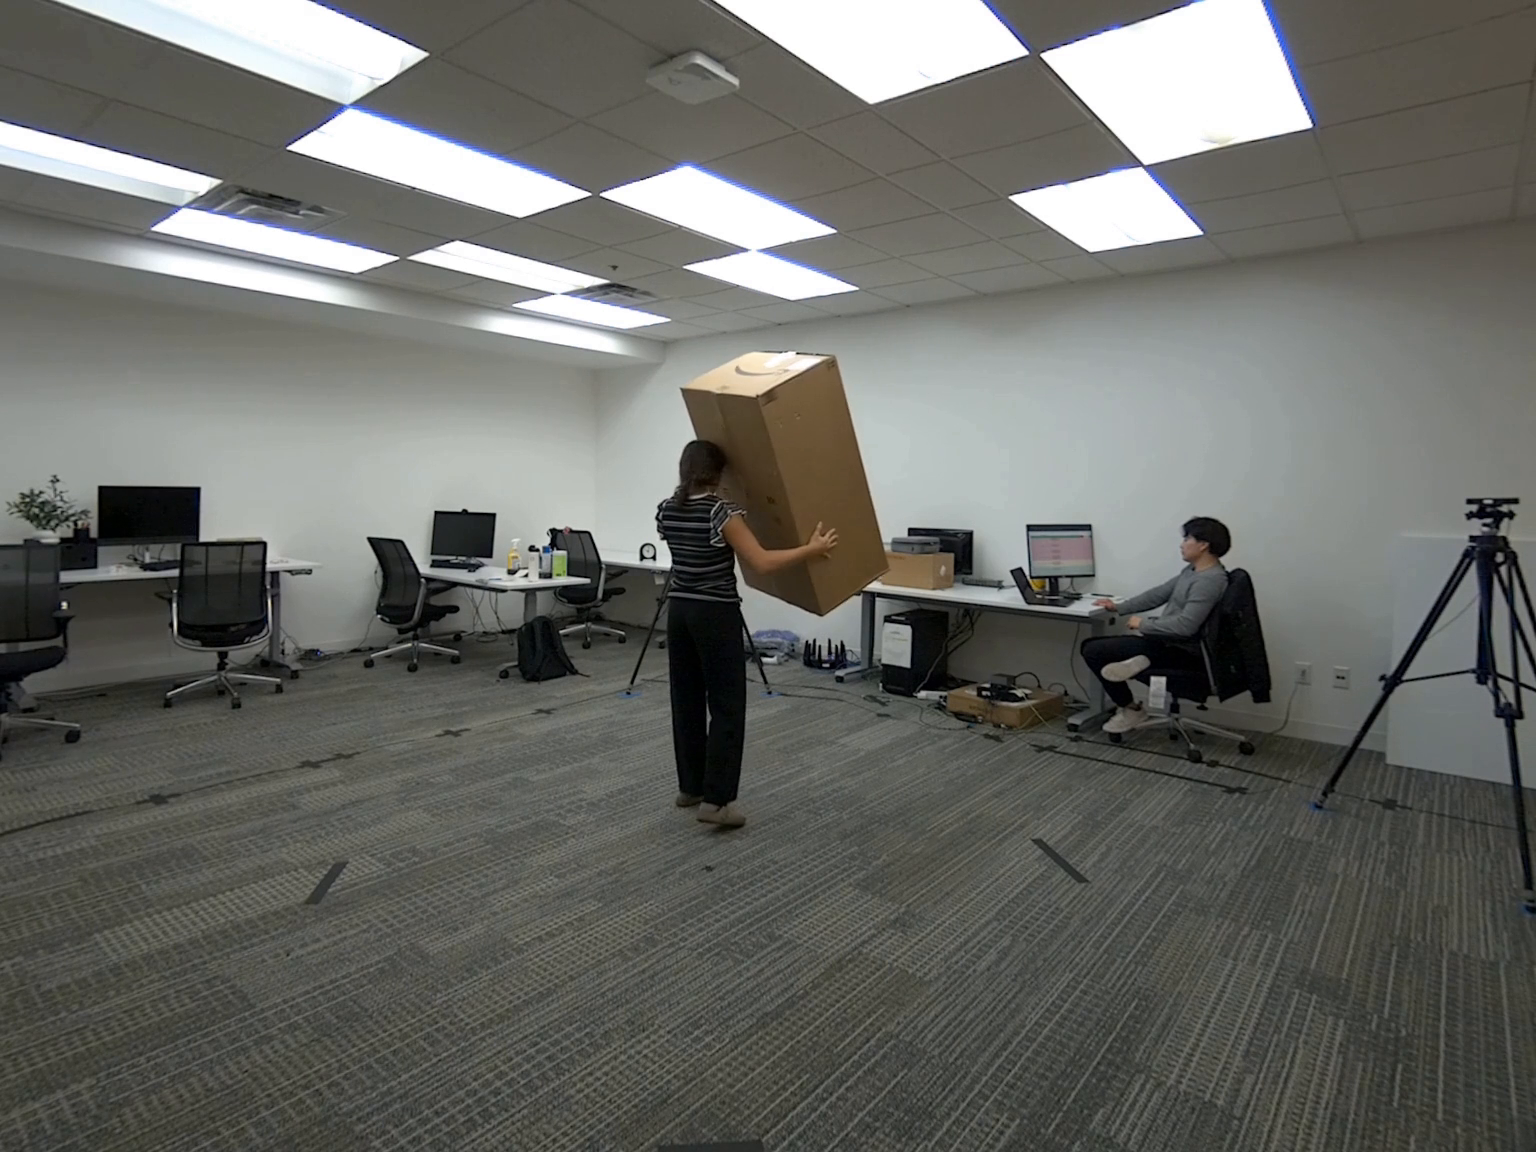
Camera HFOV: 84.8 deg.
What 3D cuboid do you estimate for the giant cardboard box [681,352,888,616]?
[{"bbox_3d":[0.067,-0.424,3.745,0.422,0.997,0.600,-31,29,-27],"label":"giant cardboard box"}]
